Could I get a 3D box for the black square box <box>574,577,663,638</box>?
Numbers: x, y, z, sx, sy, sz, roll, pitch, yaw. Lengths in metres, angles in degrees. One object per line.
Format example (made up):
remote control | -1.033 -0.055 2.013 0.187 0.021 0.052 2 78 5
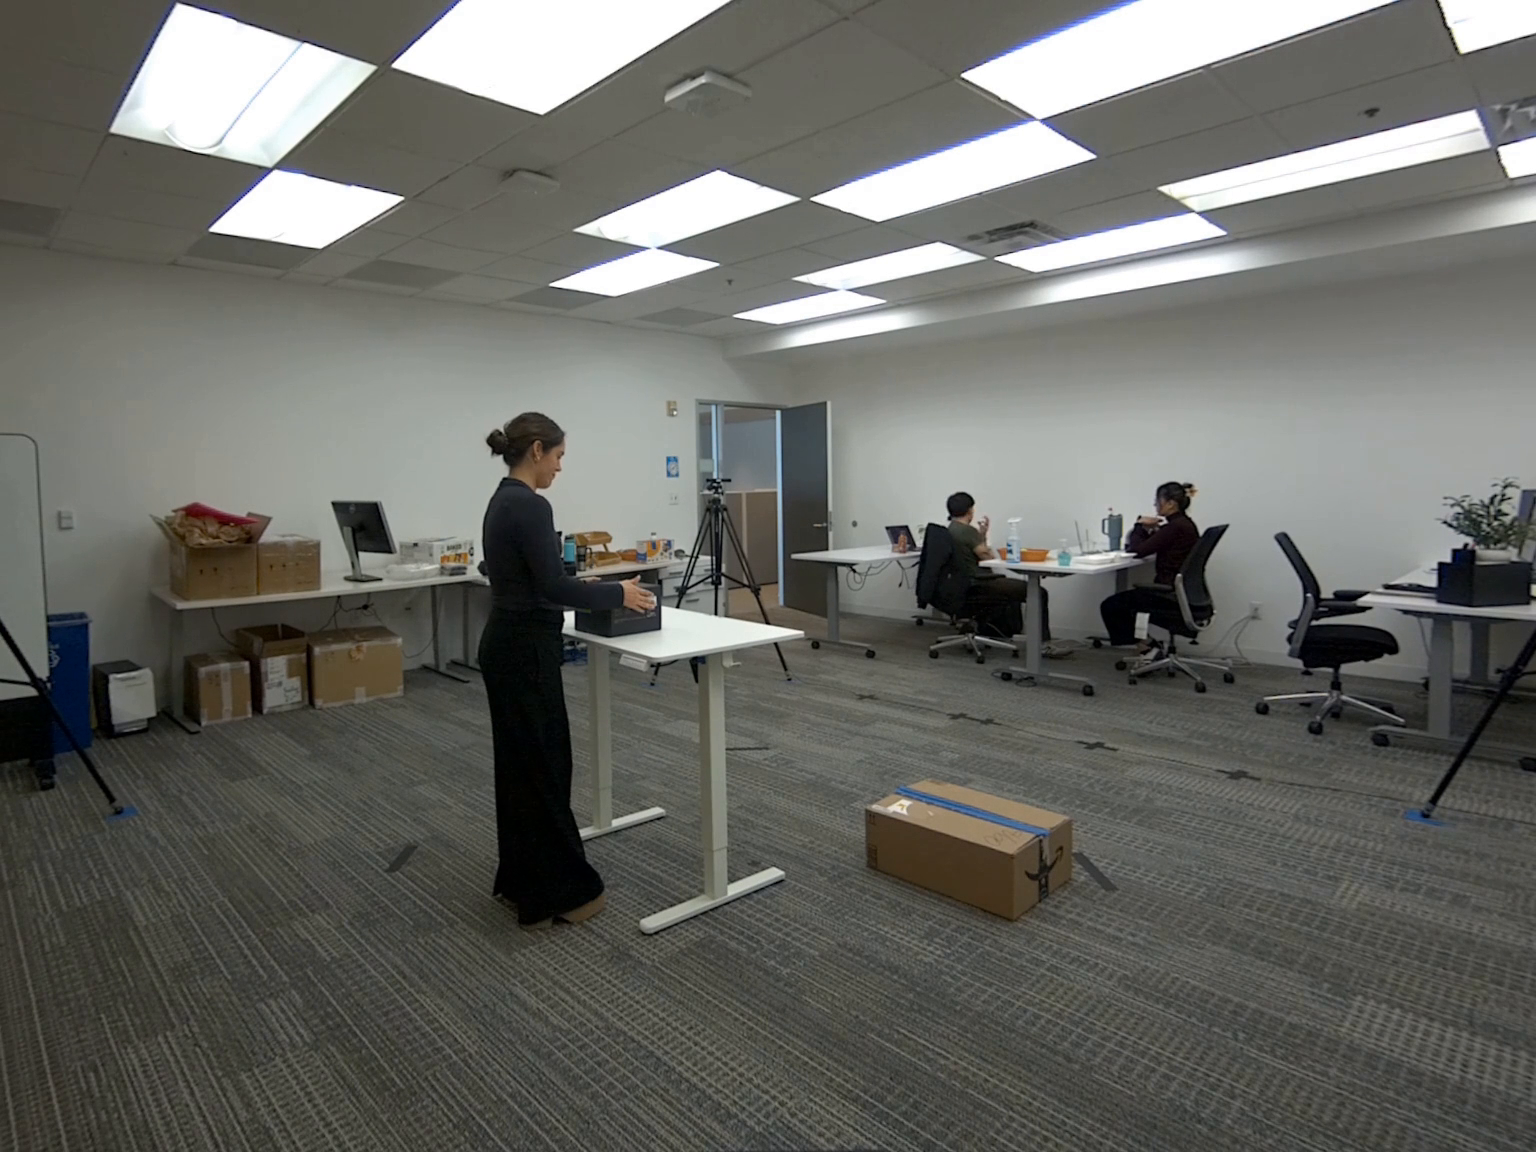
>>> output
black square box | -0.517 0.110 2.957 0.211 0.155 0.235 -6 7 -42
